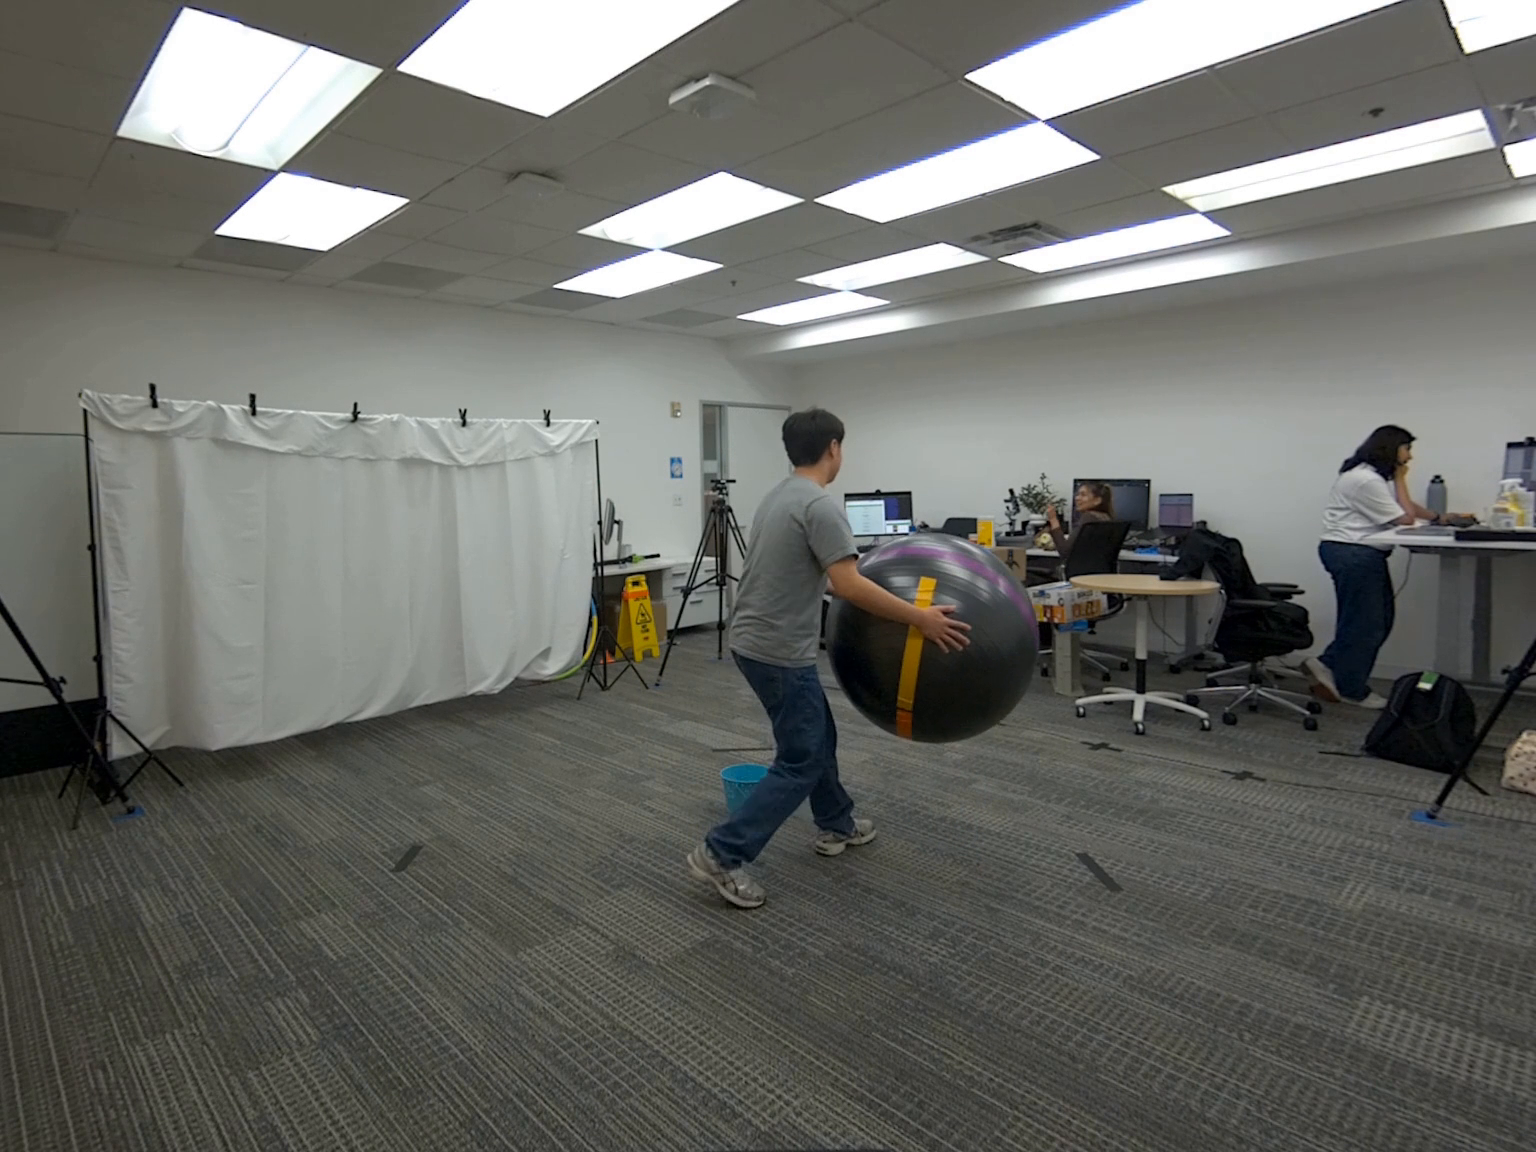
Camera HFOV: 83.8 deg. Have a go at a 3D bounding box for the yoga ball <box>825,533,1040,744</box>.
[{"bbox_3d":[0.582,0.232,3.136,0.757,0.755,0.762,-1,5,-2],"label":"yoga ball"}]
